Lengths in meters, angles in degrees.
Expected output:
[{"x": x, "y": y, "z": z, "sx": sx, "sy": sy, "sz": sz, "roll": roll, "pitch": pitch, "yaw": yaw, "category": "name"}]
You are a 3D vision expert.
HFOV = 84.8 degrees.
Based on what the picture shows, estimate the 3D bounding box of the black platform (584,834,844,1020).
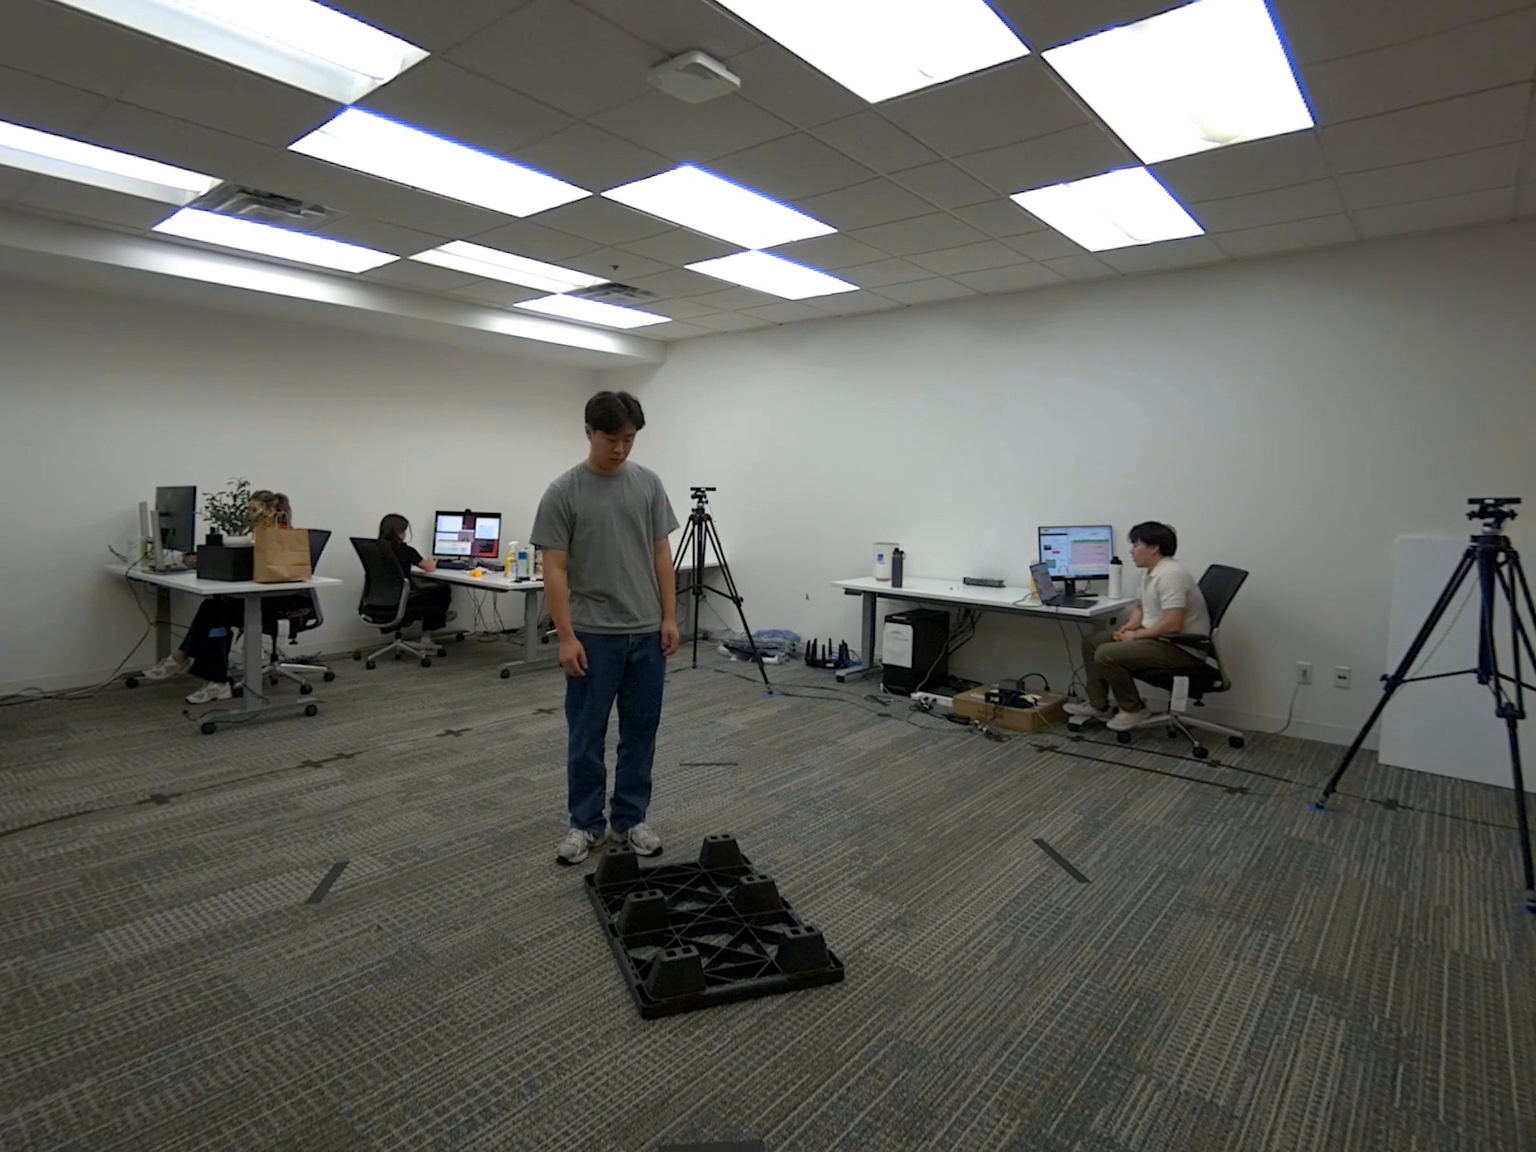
[{"x": -0.209, "y": 1.040, "z": 2.679, "sx": 0.592, "sy": 0.143, "sz": 0.827, "roll": -2, "pitch": 7, "yaw": -23, "category": "black platform"}]
